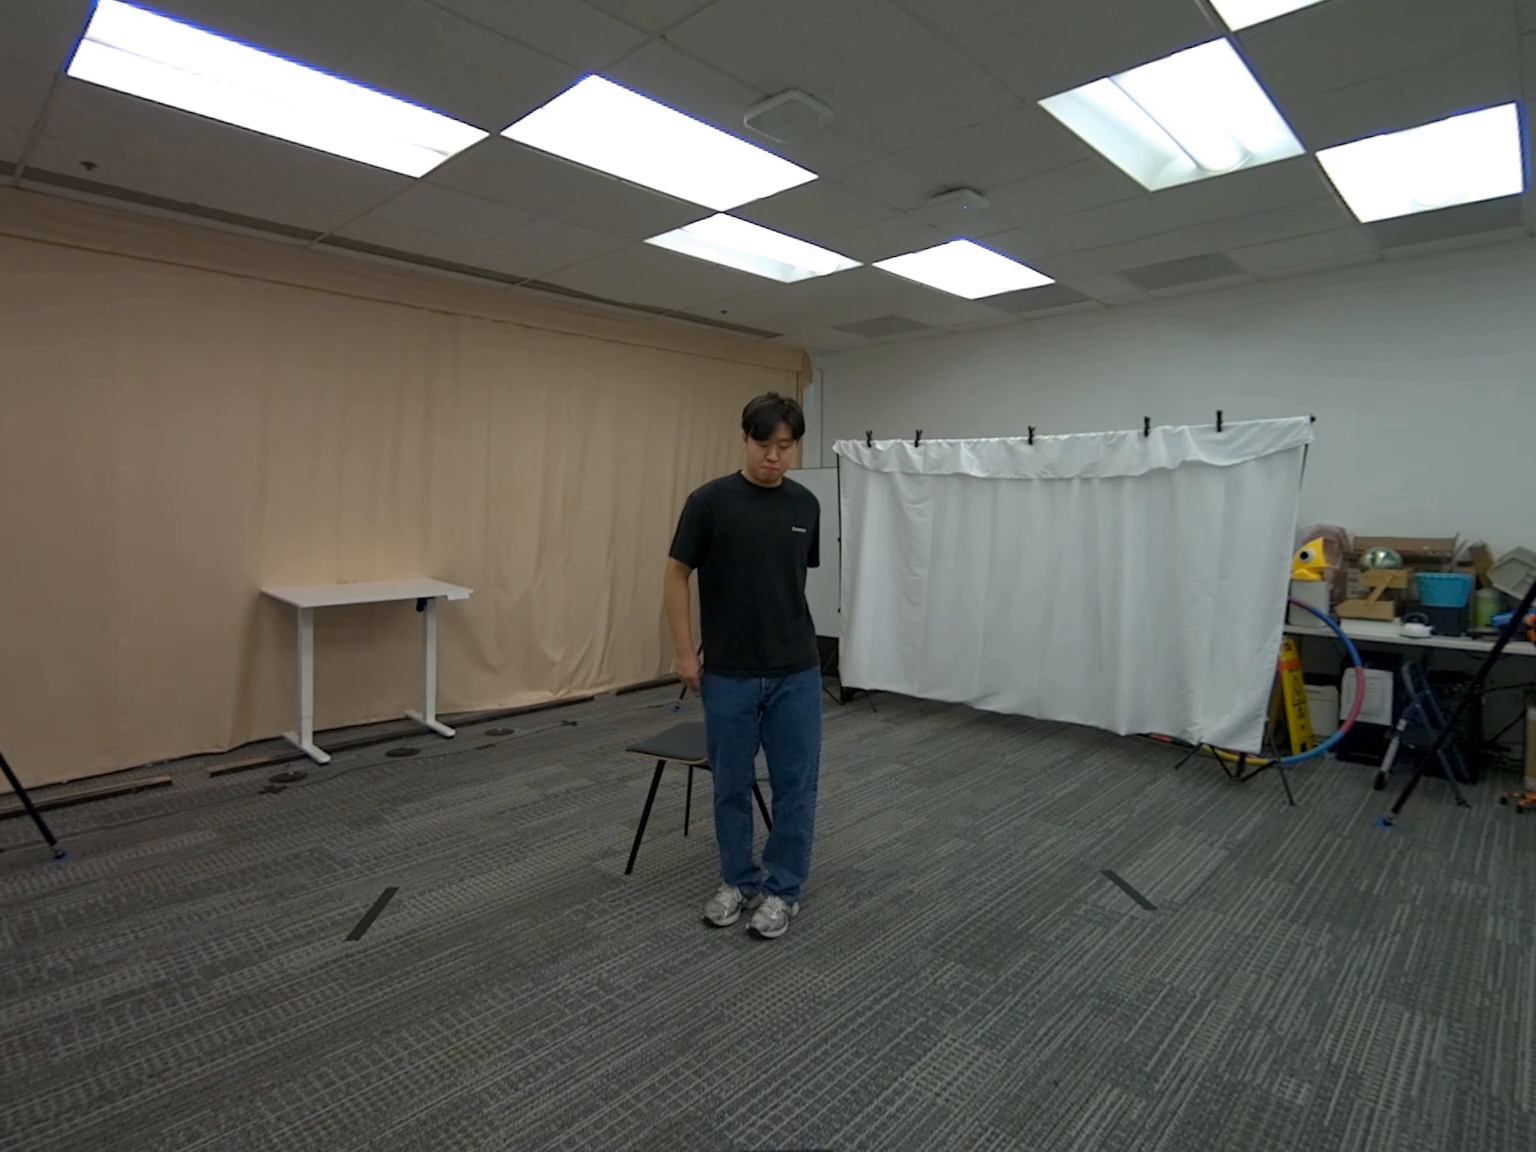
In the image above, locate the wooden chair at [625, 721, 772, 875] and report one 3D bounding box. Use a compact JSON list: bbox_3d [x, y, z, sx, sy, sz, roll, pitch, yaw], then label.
[{"bbox_3d":[-0.254,0.693,3.252,0.538,0.875,0.466,6,6,26],"label":"wooden chair"}]
